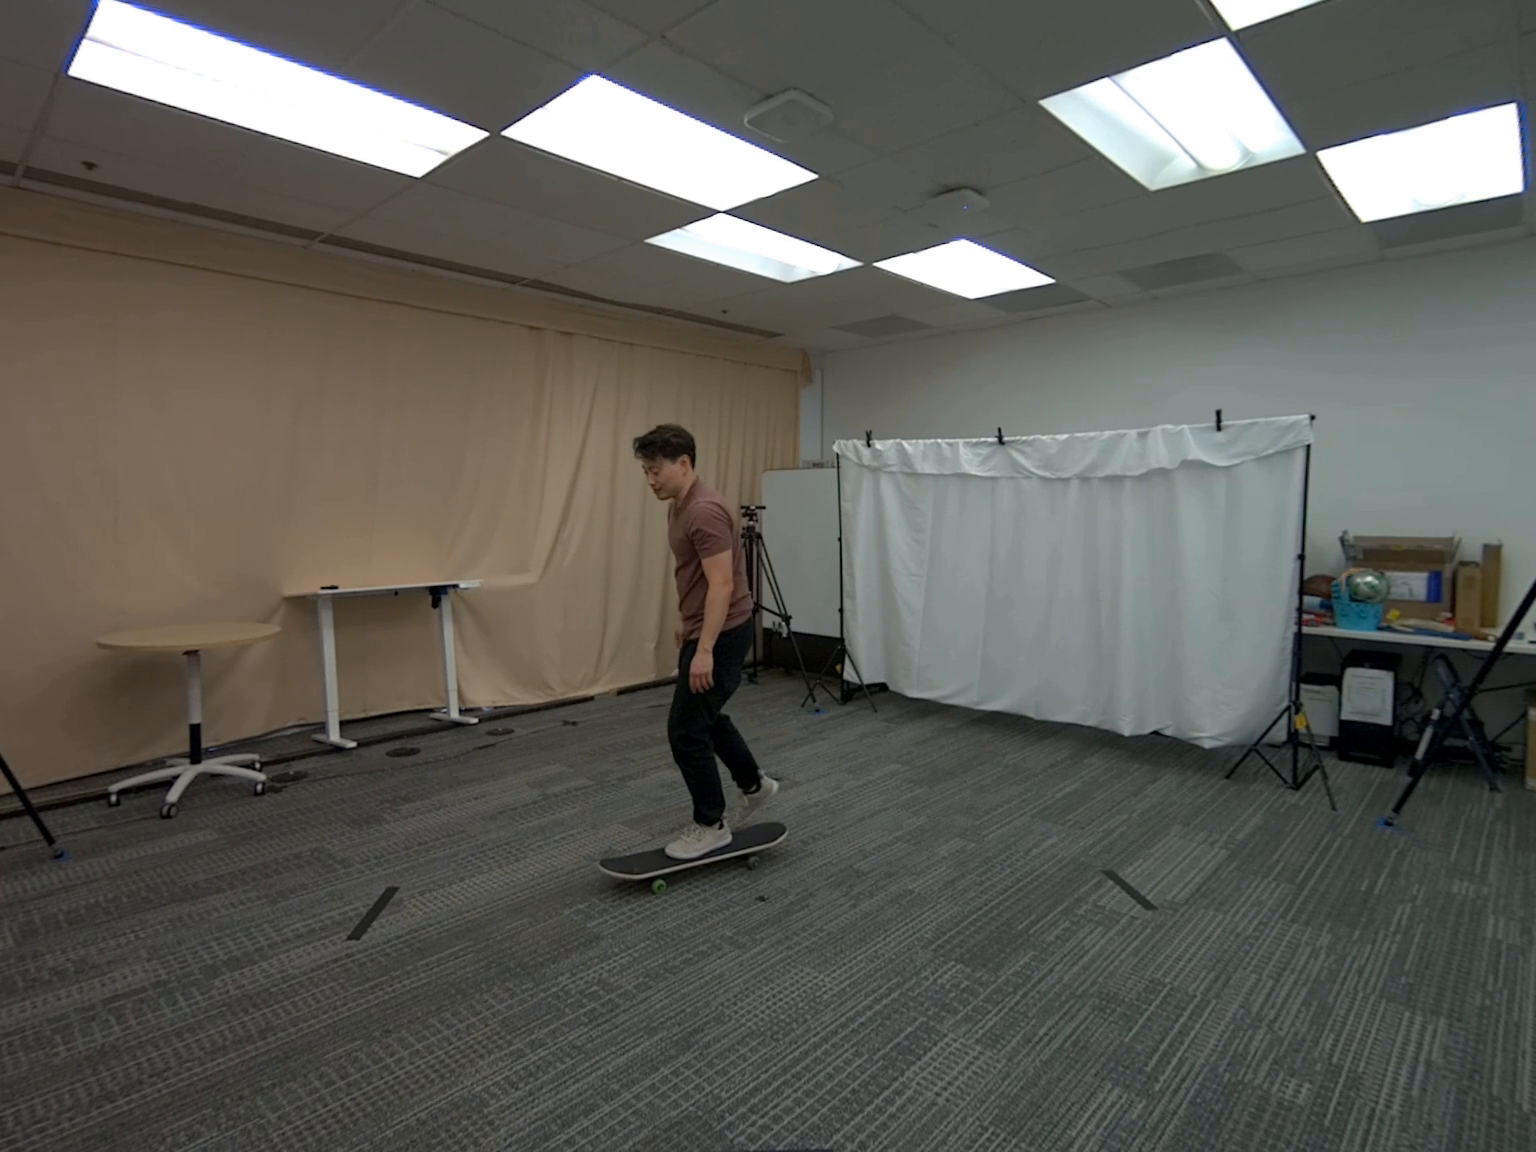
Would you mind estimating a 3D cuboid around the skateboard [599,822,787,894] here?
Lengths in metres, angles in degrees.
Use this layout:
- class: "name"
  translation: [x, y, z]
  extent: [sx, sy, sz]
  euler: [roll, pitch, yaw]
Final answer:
- class: "skateboard"
  translation: [-0.283, 1.074, 3.191]
  extent: [0.765, 0.110, 0.199]
  euler: [-3, 3, -30]
